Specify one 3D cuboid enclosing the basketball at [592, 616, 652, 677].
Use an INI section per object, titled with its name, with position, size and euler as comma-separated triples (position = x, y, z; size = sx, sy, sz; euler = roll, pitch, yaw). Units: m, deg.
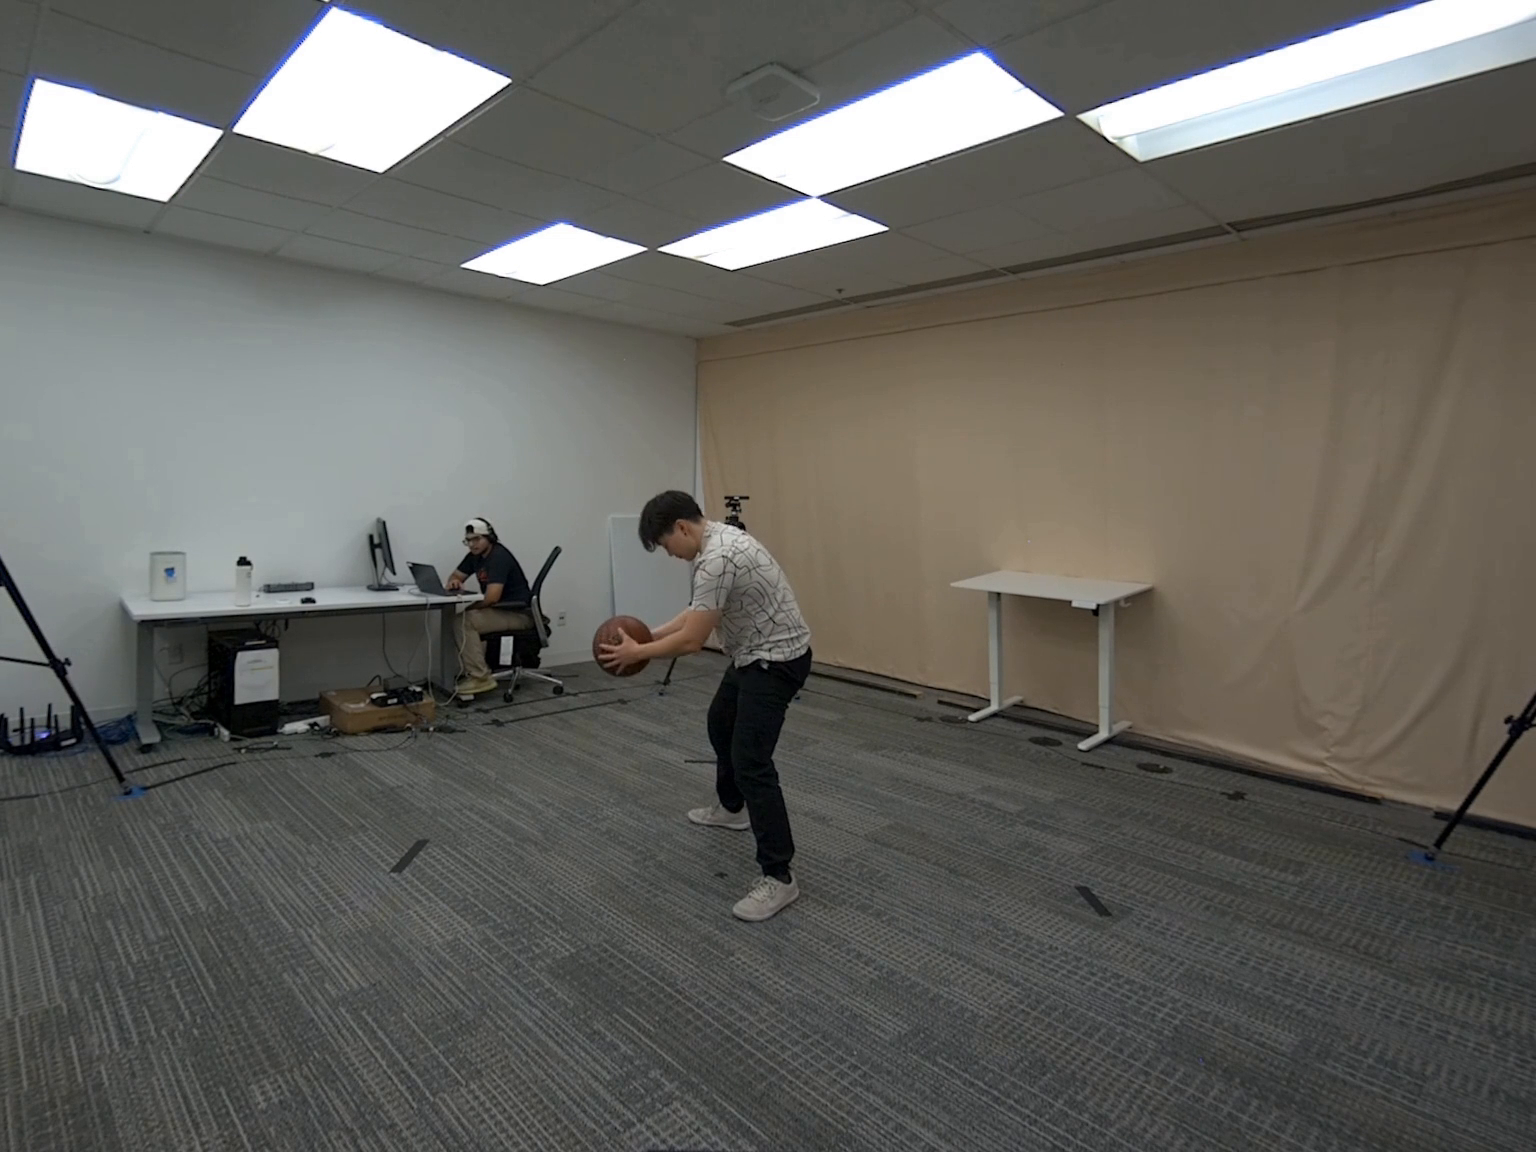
[basketball]
position = -0.565, 0.274, 3.288
size = 0.236, 0.235, 0.237
euler = 1, 4, -1
